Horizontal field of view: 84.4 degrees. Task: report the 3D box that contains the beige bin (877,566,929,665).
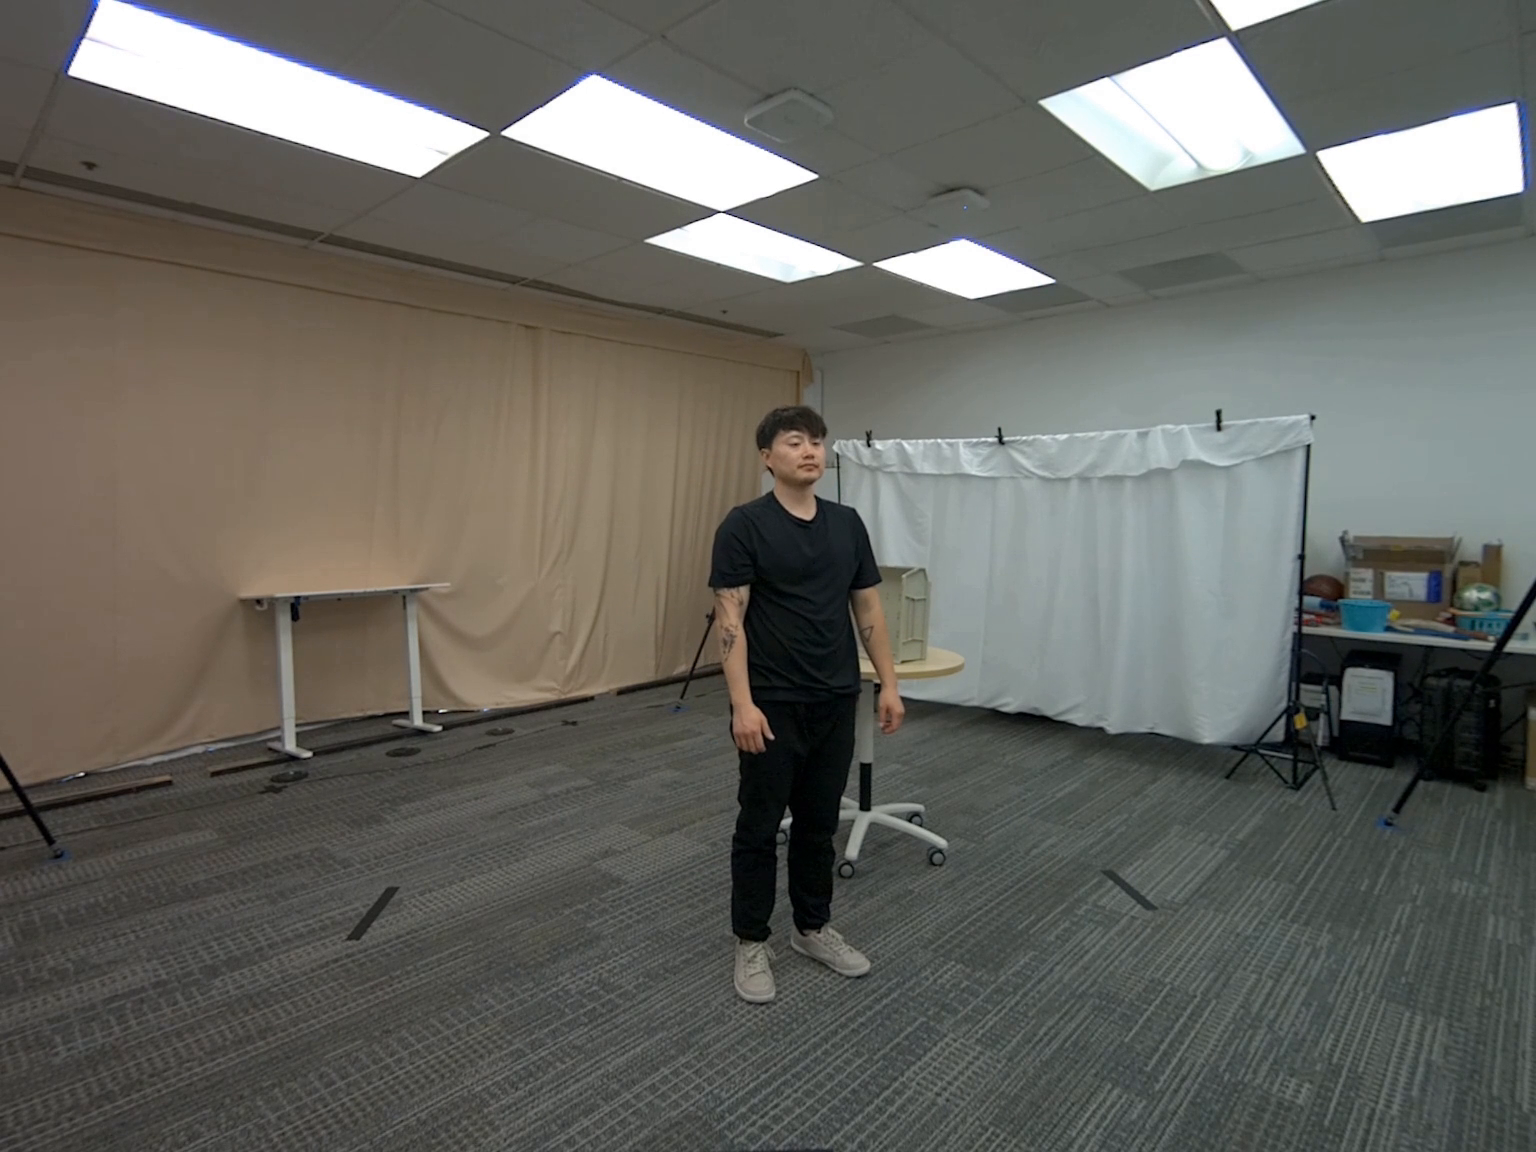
[{"bbox_3d":[0.432,0.140,3.428,0.183,0.377,0.436,5,-1,-43],"label":"beige bin"}]
